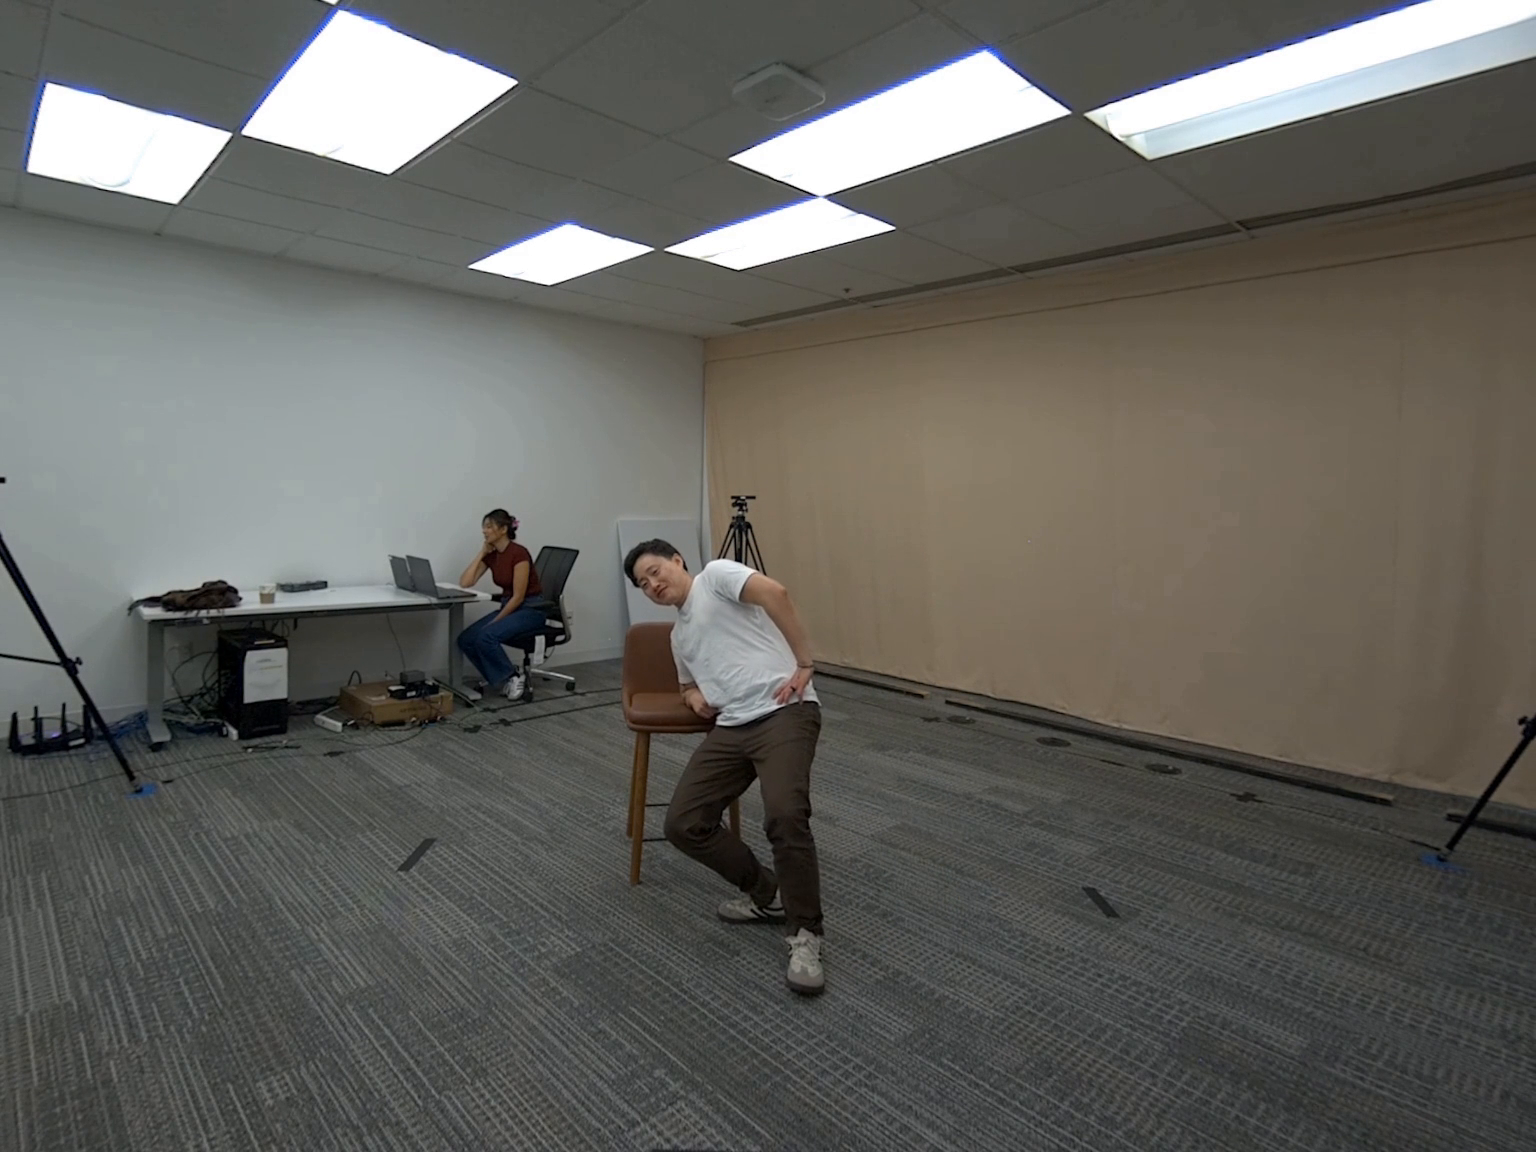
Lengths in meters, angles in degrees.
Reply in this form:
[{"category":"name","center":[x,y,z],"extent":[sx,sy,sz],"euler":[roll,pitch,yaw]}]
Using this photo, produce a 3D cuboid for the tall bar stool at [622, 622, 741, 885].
[{"category":"tall bar stool","center":[-0.343,0.651,3.245],"extent":[0.452,0.888,0.473],"euler":[1,2,-13]}]
